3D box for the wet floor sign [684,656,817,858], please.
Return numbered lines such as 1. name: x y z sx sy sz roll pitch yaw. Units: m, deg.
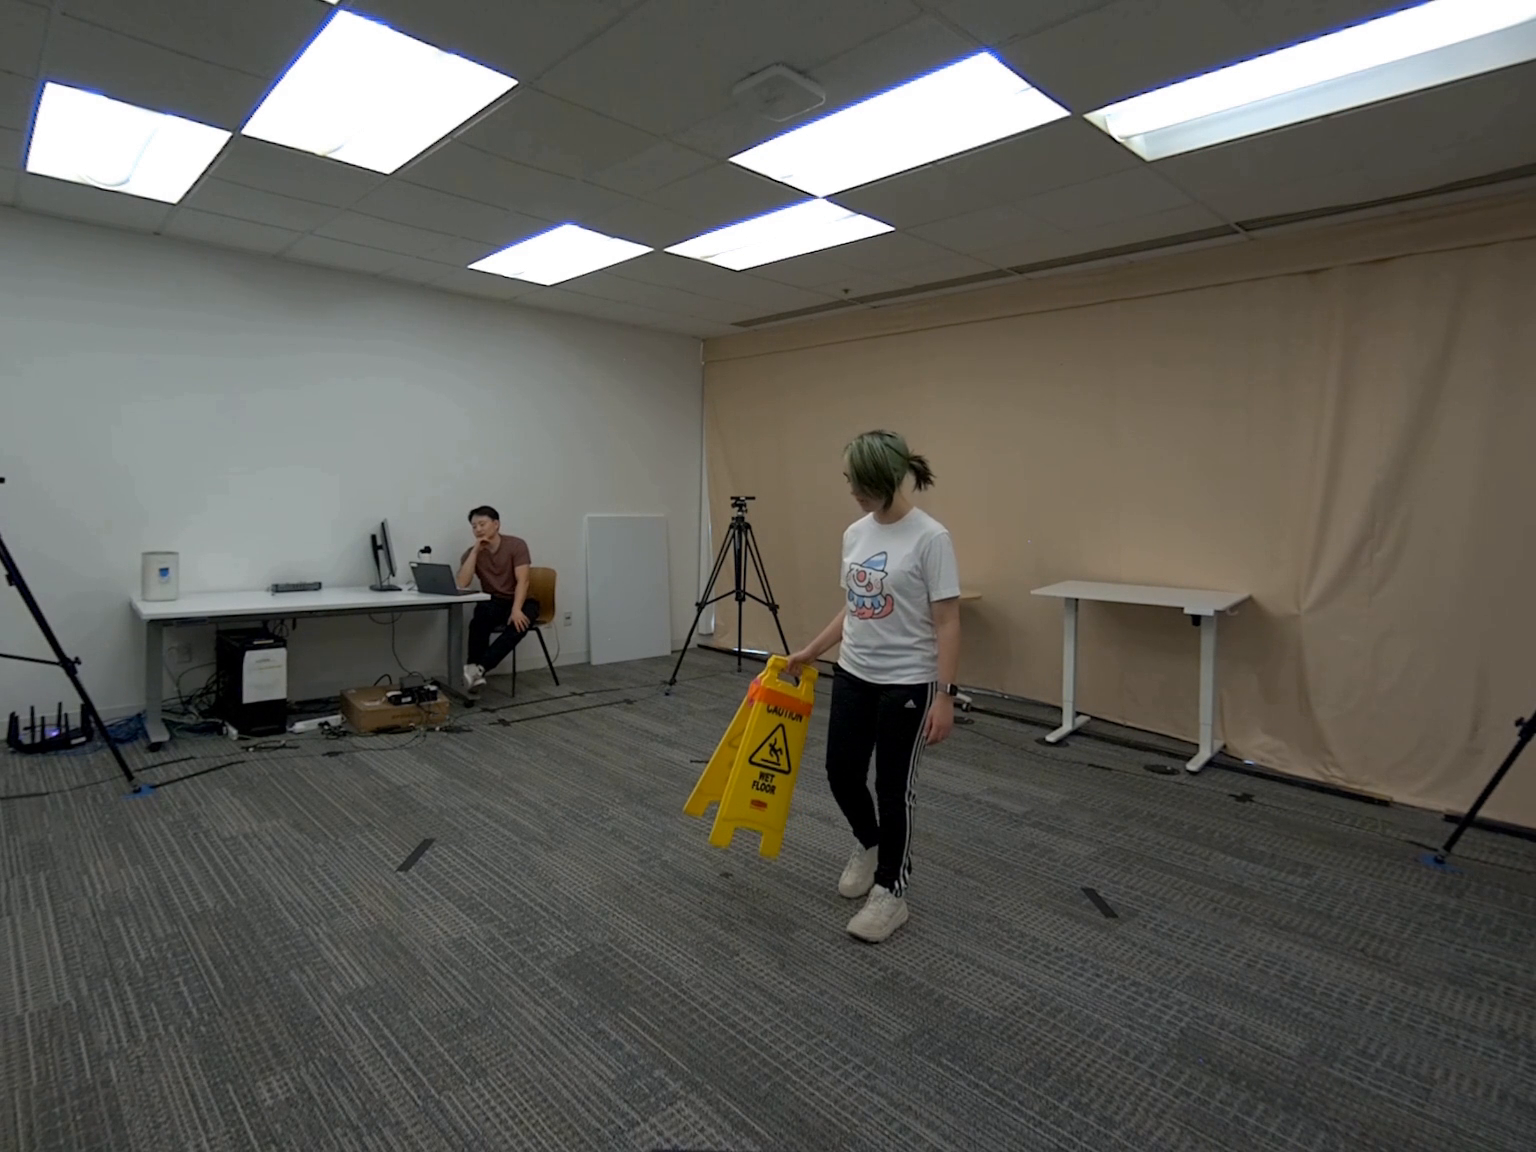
1. wet floor sign: -0.024 0.608 2.951 0.275 0.646 0.296 21 -2 -27
